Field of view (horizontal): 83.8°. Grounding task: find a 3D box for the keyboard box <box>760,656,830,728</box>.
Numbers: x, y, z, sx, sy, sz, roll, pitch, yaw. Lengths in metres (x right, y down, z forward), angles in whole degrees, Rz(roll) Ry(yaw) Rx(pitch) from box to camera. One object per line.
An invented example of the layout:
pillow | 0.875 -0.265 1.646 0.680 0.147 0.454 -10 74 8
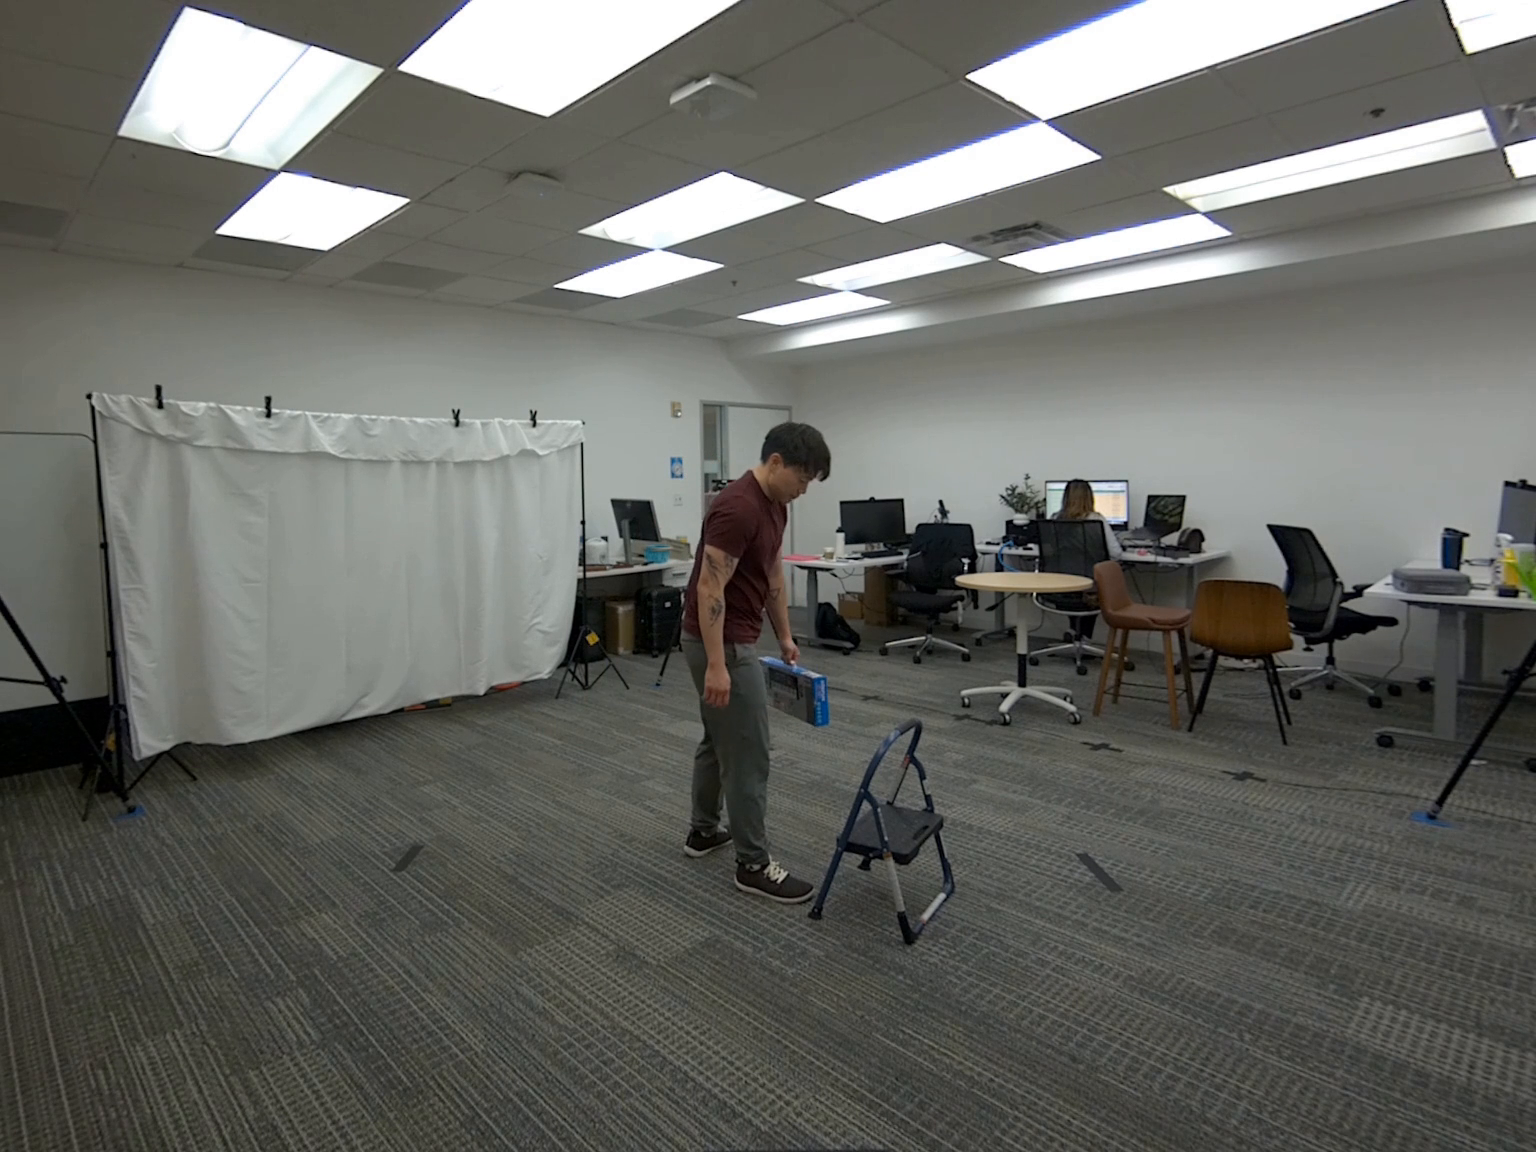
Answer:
keyboard box | 0.081 0.422 3.165 0.058 0.175 0.448 -6 6 -26
